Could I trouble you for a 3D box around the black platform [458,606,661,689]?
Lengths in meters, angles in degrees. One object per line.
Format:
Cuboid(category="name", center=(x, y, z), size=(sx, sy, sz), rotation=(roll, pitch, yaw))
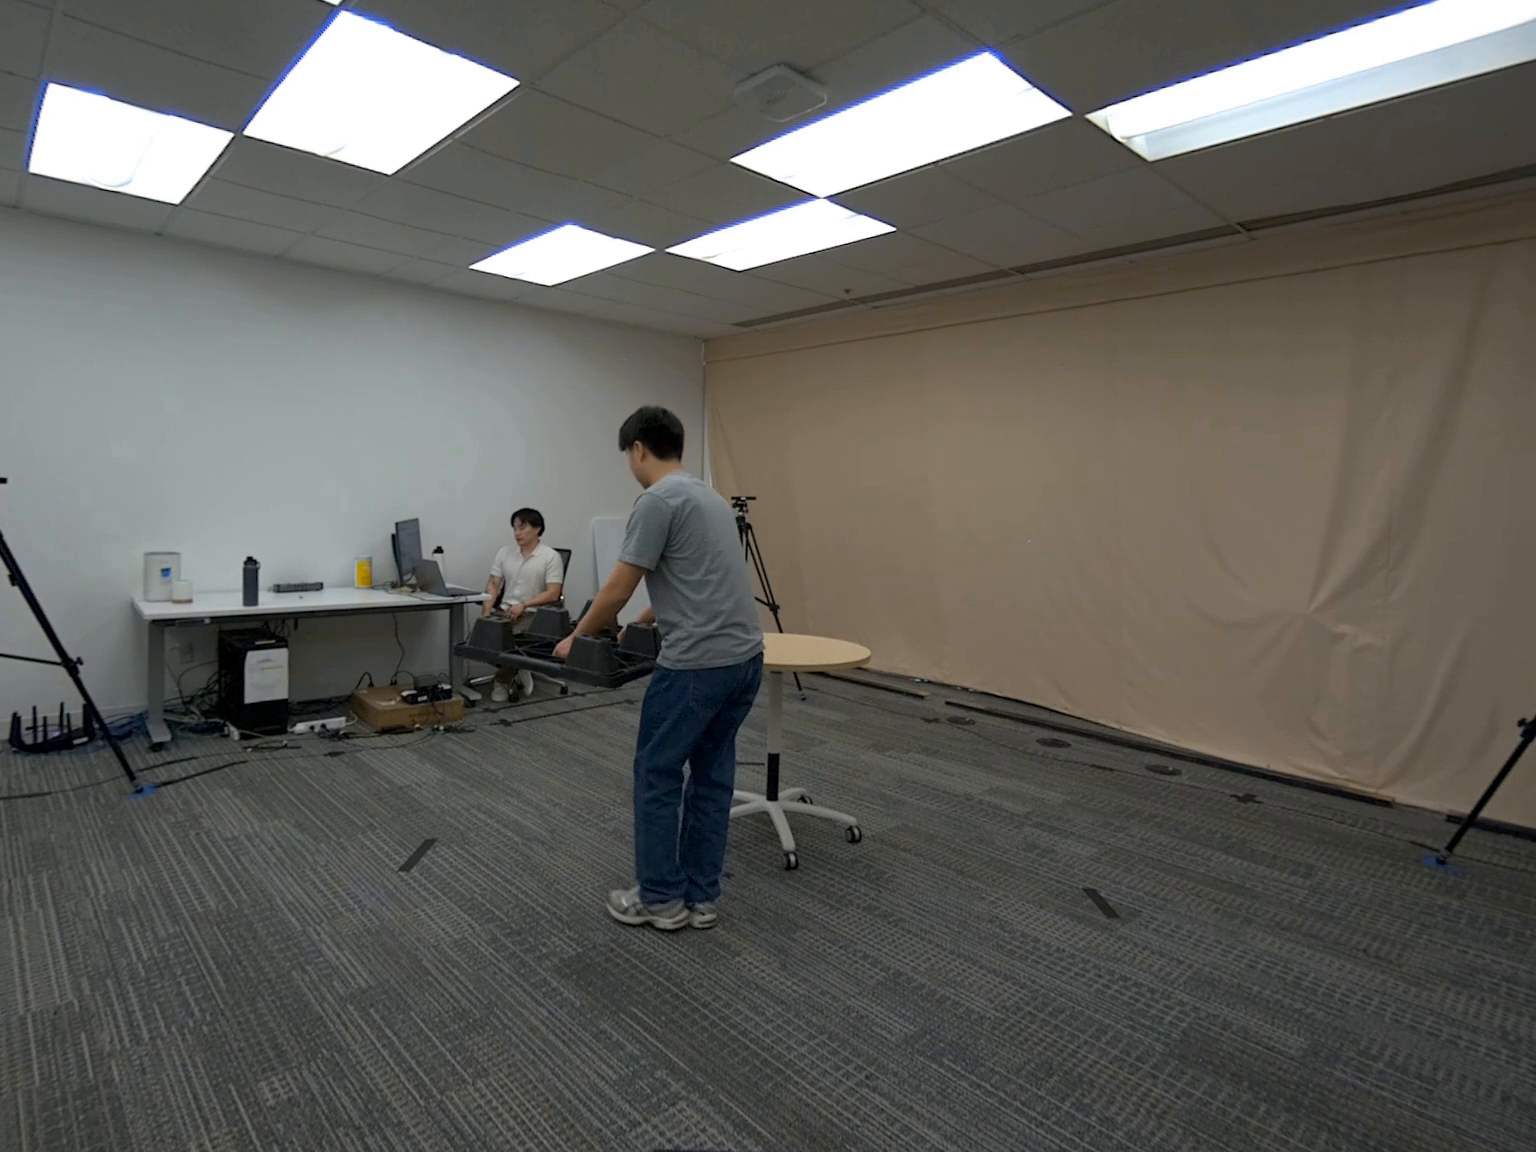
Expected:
Cuboid(category="black platform", center=(-0.622, 0.222, 2.980), size=(0.615, 0.143, 0.794), rotation=(8, 6, 19))
